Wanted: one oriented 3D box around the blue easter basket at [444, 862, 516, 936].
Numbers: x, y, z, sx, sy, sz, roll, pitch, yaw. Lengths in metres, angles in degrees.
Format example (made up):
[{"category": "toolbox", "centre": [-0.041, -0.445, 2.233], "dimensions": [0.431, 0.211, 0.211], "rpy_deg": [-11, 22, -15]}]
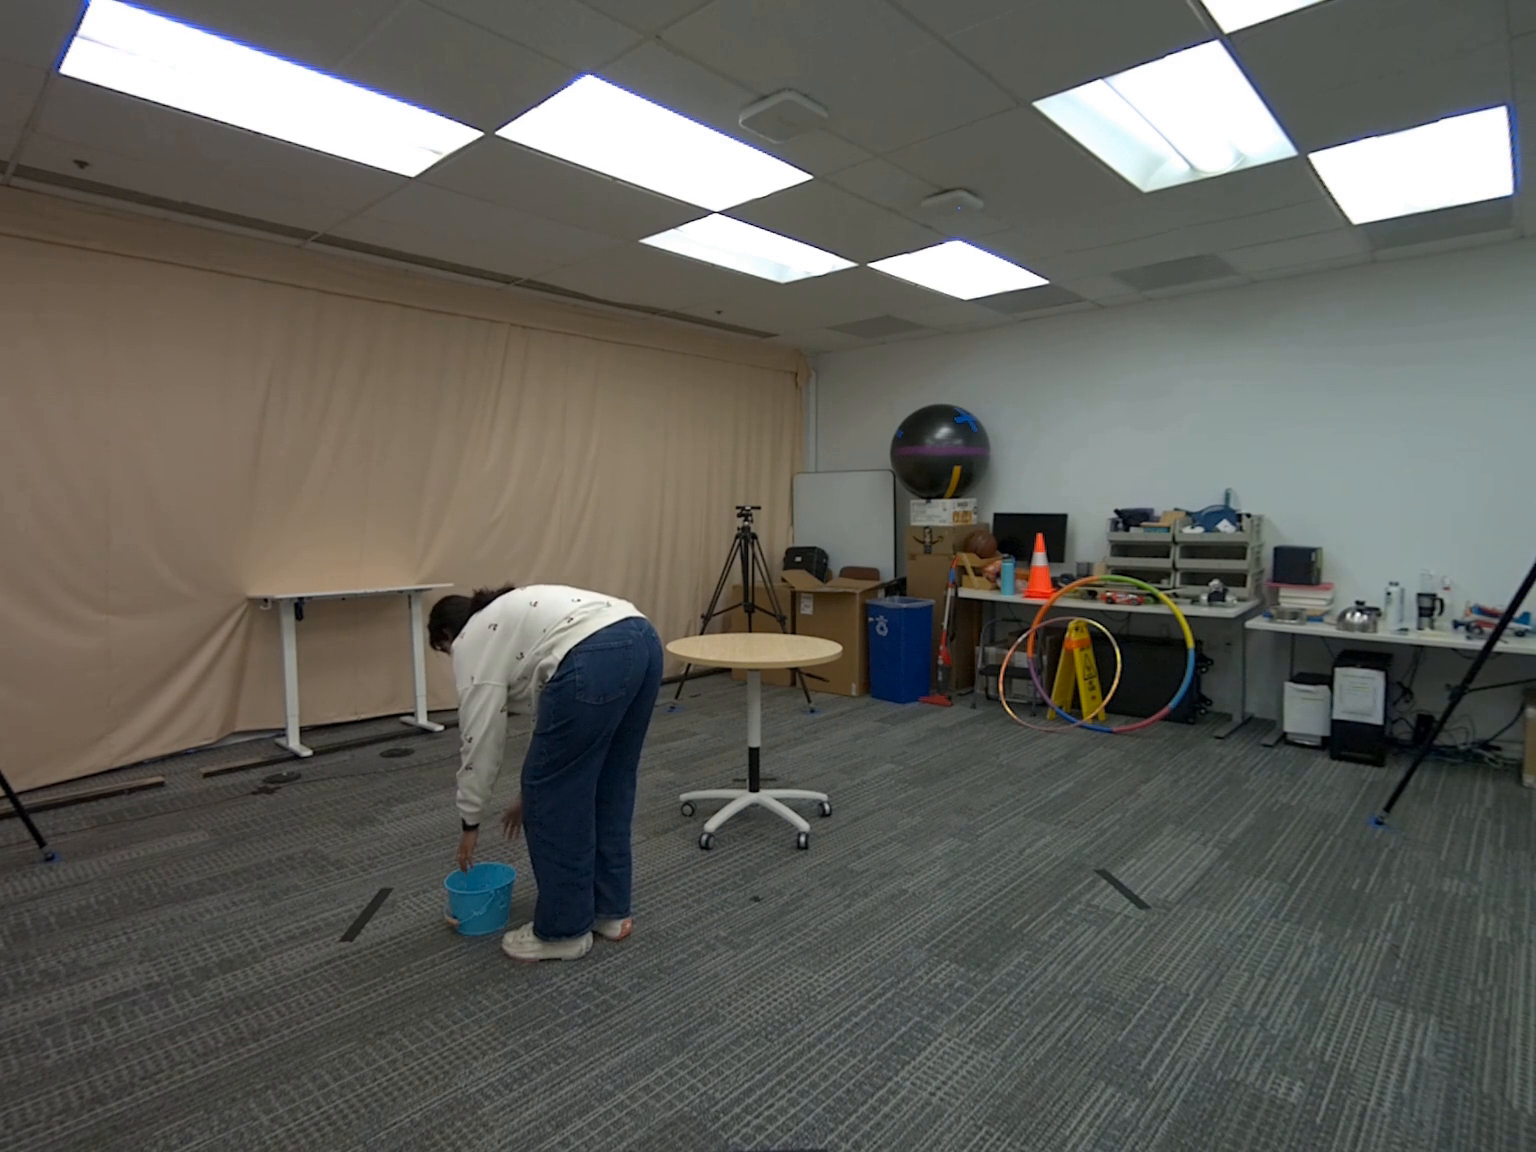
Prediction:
[{"category": "blue easter basket", "centre": [-0.973, 1.091, 2.834], "dimensions": [0.243, 0.155, 0.244], "rpy_deg": [-1, 4, -2]}]
